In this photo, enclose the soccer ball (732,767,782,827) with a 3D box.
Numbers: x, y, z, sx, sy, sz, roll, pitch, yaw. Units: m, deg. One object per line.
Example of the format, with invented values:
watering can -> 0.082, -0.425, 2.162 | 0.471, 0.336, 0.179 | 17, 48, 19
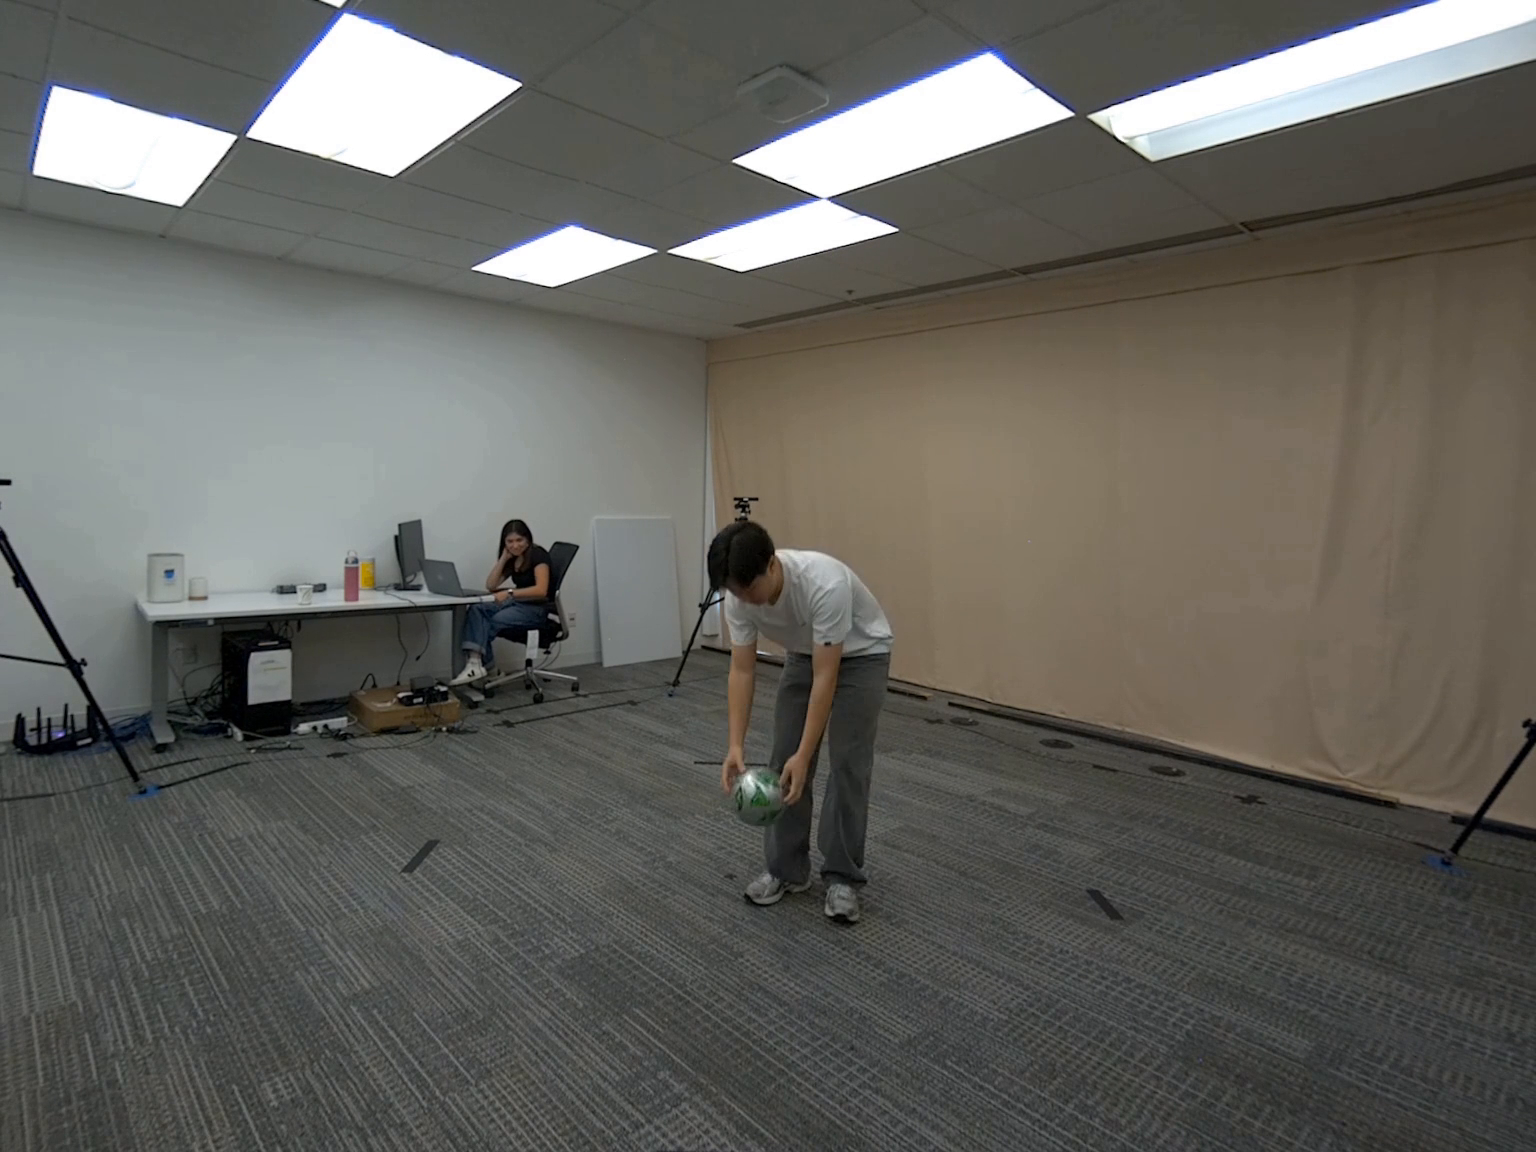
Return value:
soccer ball -> -0.037, 0.703, 2.679 | 0.187, 0.187, 0.188 | 1, 4, -1
